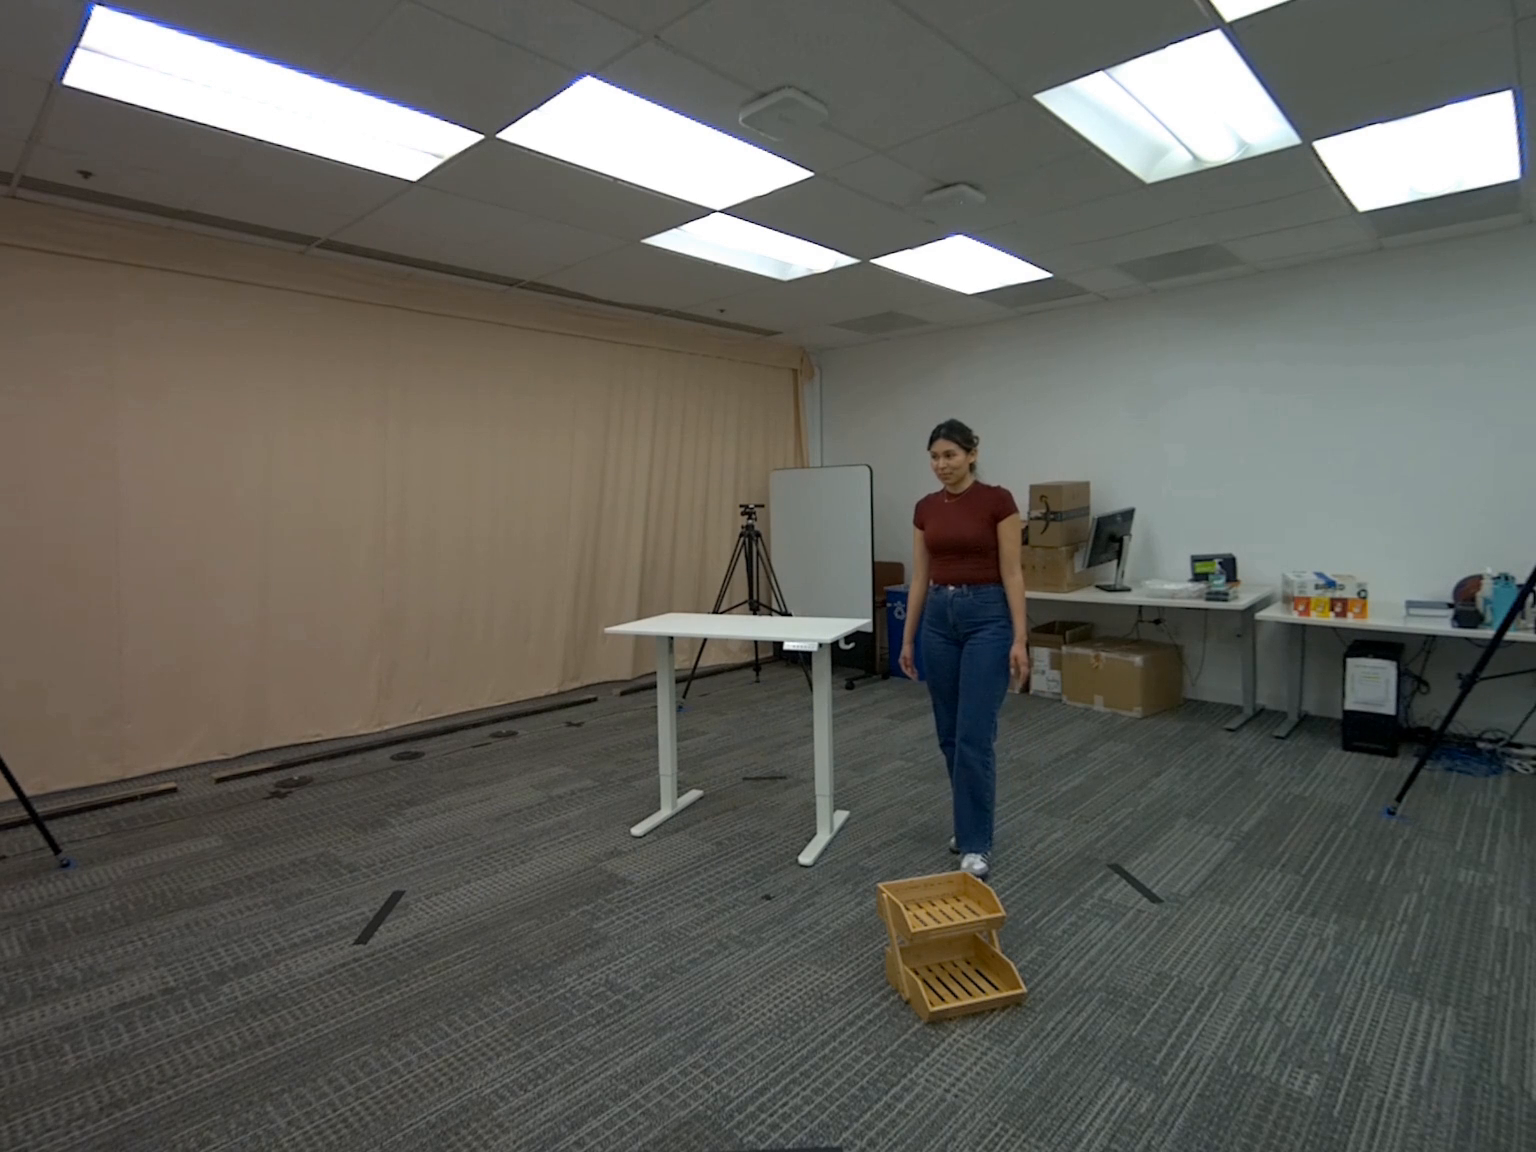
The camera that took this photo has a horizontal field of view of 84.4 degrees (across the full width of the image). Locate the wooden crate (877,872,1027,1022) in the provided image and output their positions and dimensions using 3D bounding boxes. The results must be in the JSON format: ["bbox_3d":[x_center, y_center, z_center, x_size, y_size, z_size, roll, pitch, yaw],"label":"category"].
[{"bbox_3d":[0.533,1.048,2.398,0.318,0.272,0.308,-3,6,-19],"label":"wooden crate"}]
